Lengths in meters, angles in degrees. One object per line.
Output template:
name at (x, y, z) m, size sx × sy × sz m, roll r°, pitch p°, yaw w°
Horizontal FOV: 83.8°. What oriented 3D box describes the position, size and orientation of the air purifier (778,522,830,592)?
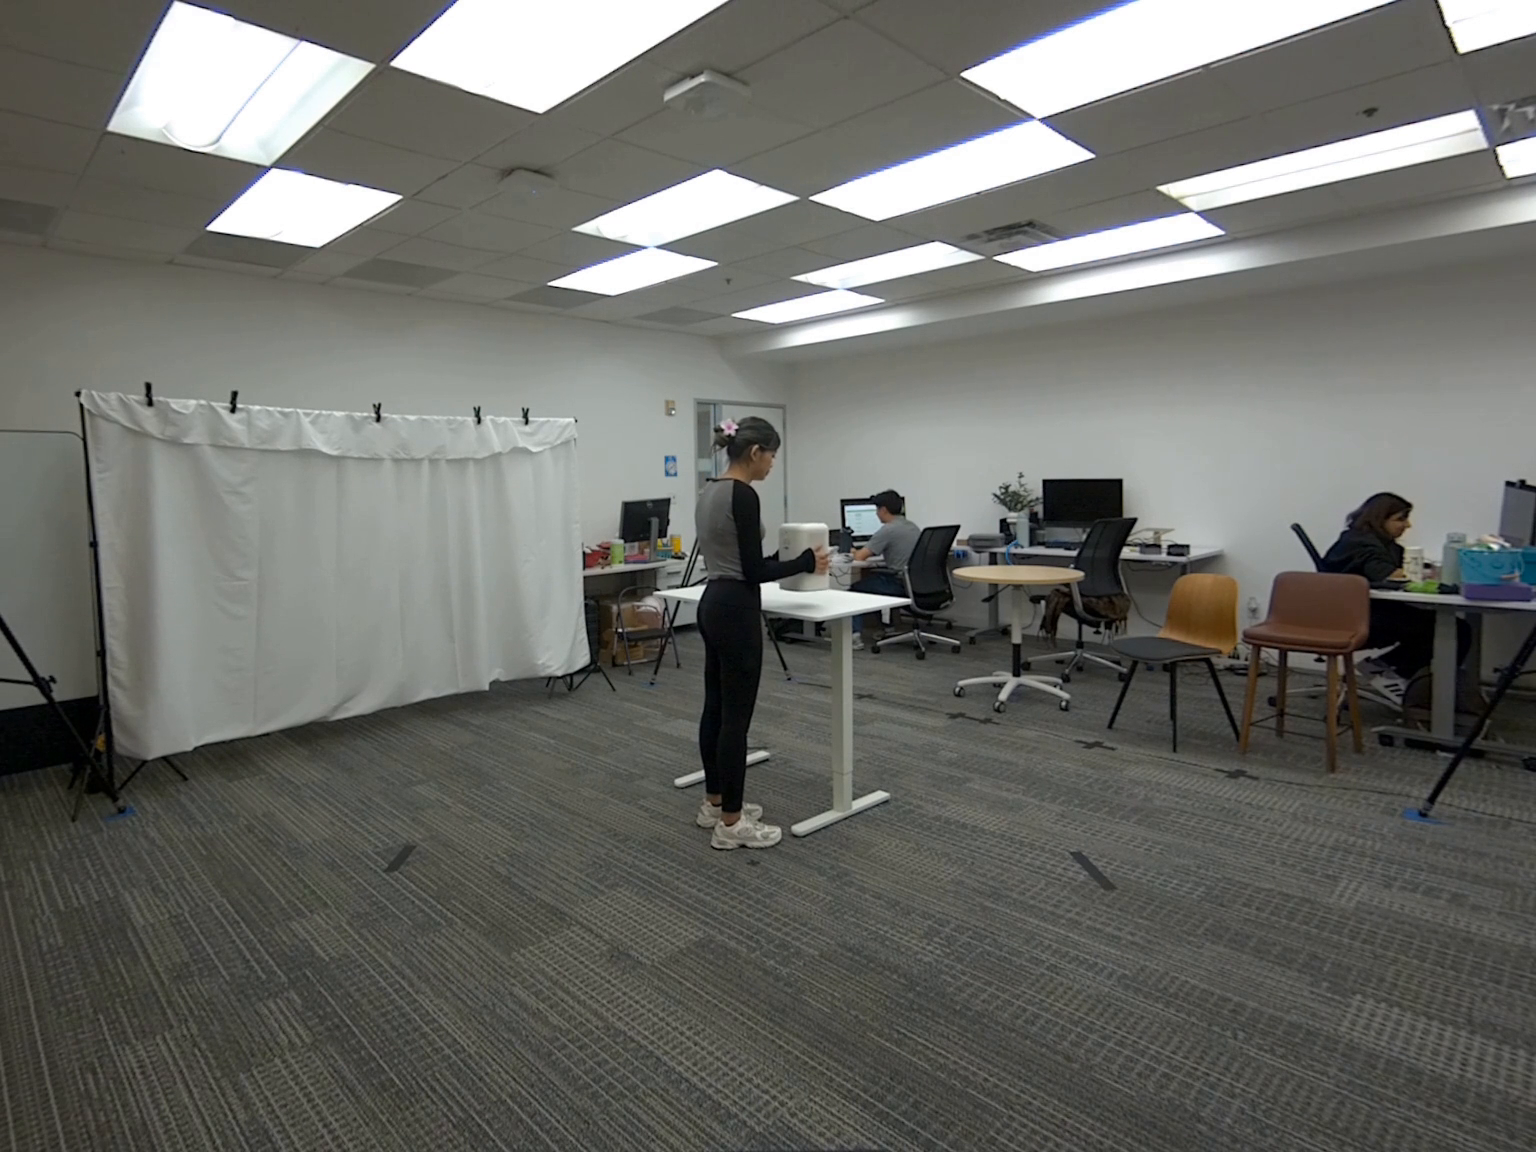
air purifier at (0.136, -0.079, 3.418) m, size 0.167 × 0.264 × 0.176 m, roll -3°, pitch 5°, yaw -34°
